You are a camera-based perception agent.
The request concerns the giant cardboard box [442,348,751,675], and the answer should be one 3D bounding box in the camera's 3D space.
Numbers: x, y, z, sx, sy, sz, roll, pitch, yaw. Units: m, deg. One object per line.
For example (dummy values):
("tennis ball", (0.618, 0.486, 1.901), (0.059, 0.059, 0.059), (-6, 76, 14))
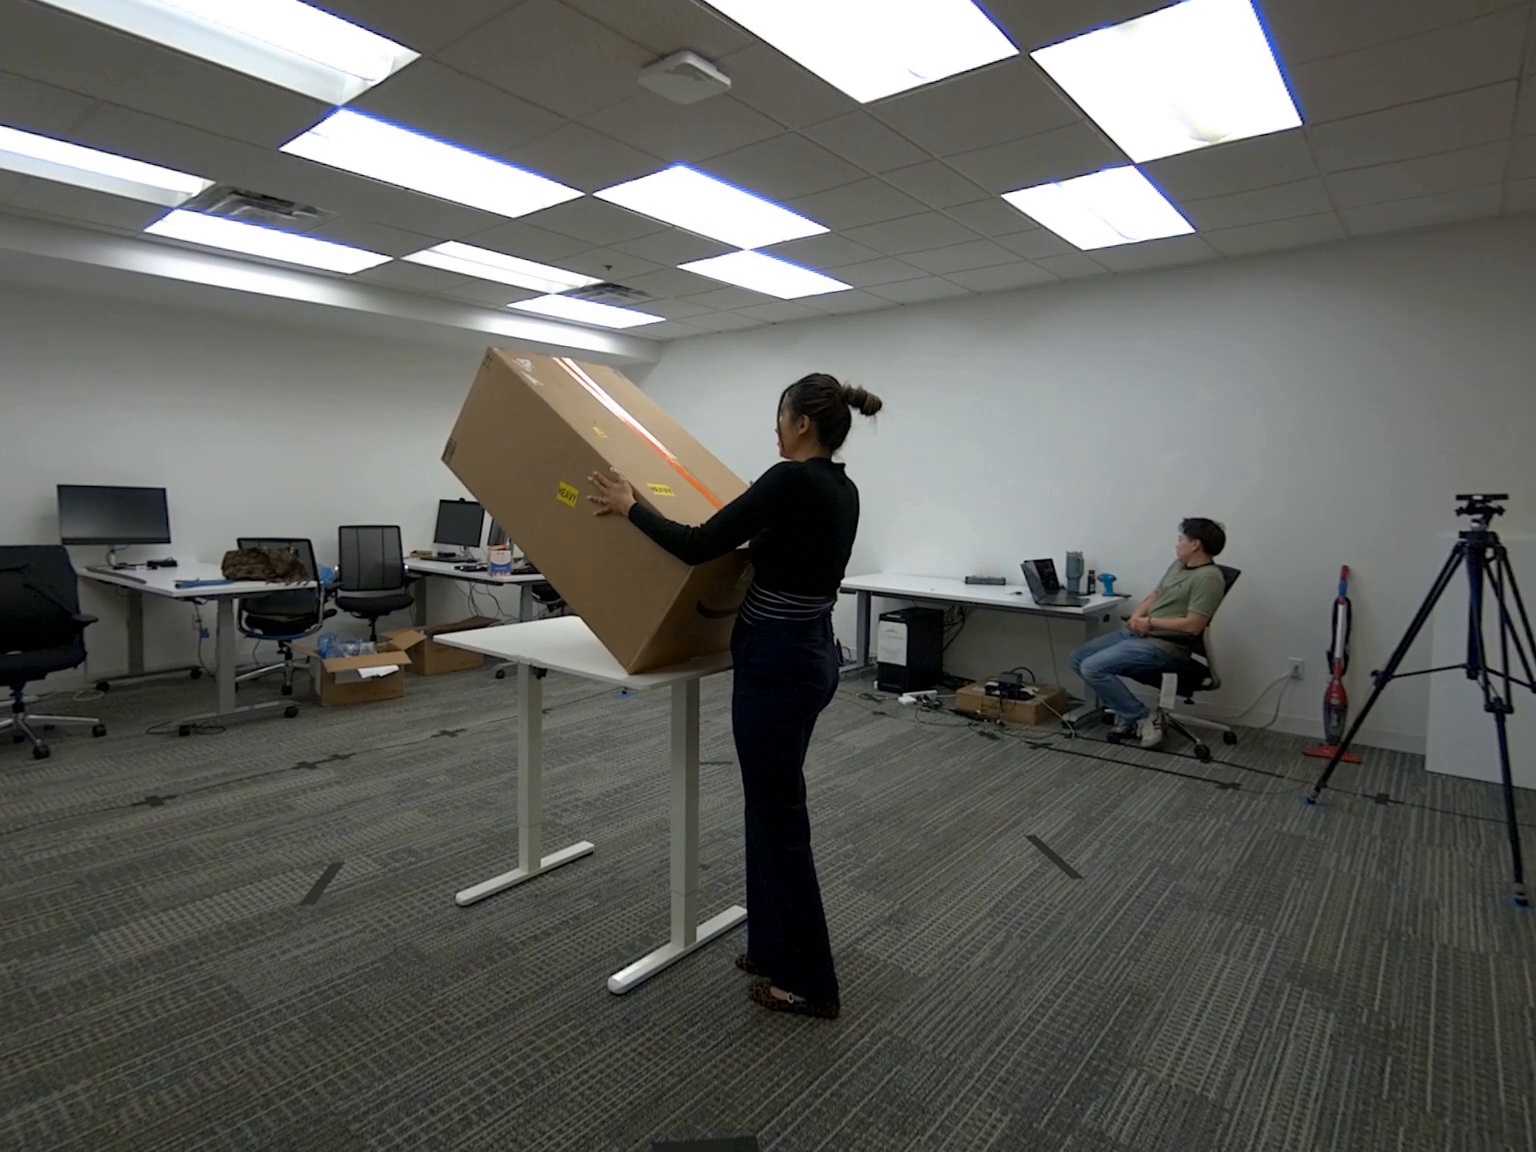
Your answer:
("giant cardboard box", (-0.472, -0.232, 2.677), (1.061, 0.424, 0.561), (44, 26, 25))
